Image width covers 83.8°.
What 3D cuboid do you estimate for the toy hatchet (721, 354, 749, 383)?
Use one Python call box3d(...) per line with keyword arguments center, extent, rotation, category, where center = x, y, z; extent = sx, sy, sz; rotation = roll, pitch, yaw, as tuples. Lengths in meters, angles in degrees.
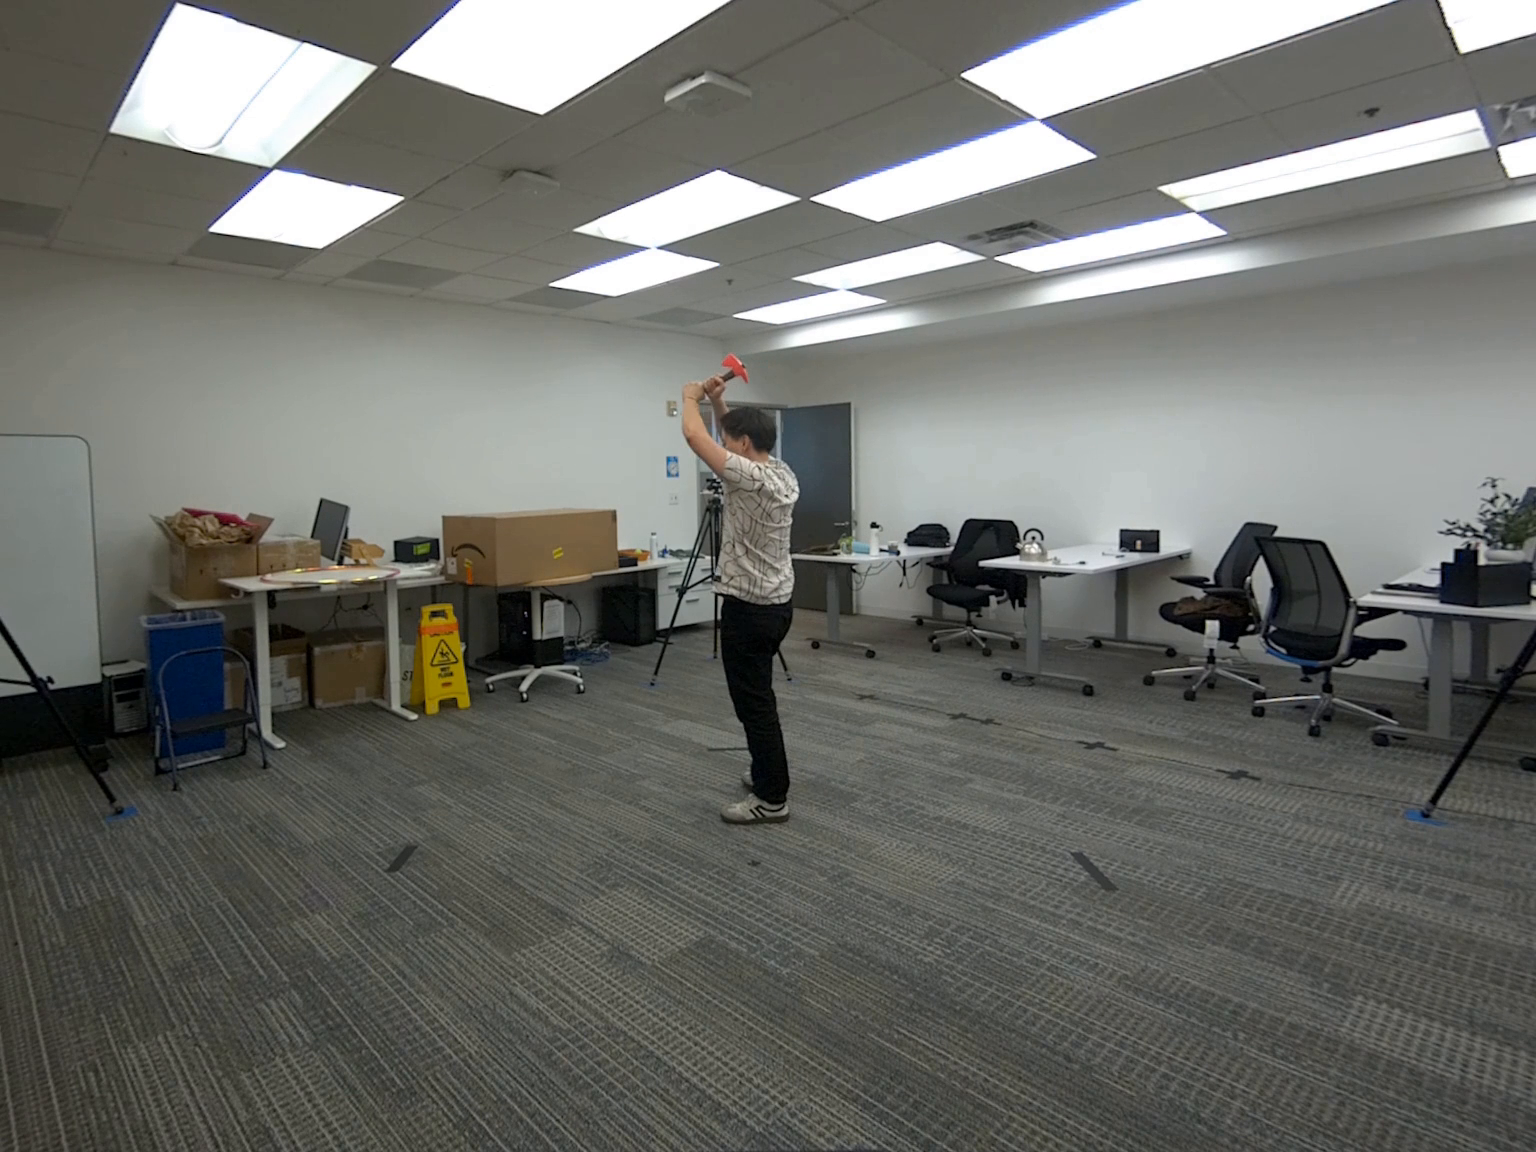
box3d(center=(-0.226, -0.821, 3.482), extent=(0.272, 0.128, 0.030), rotation=(-10, 19, 10), category="toy hatchet")
